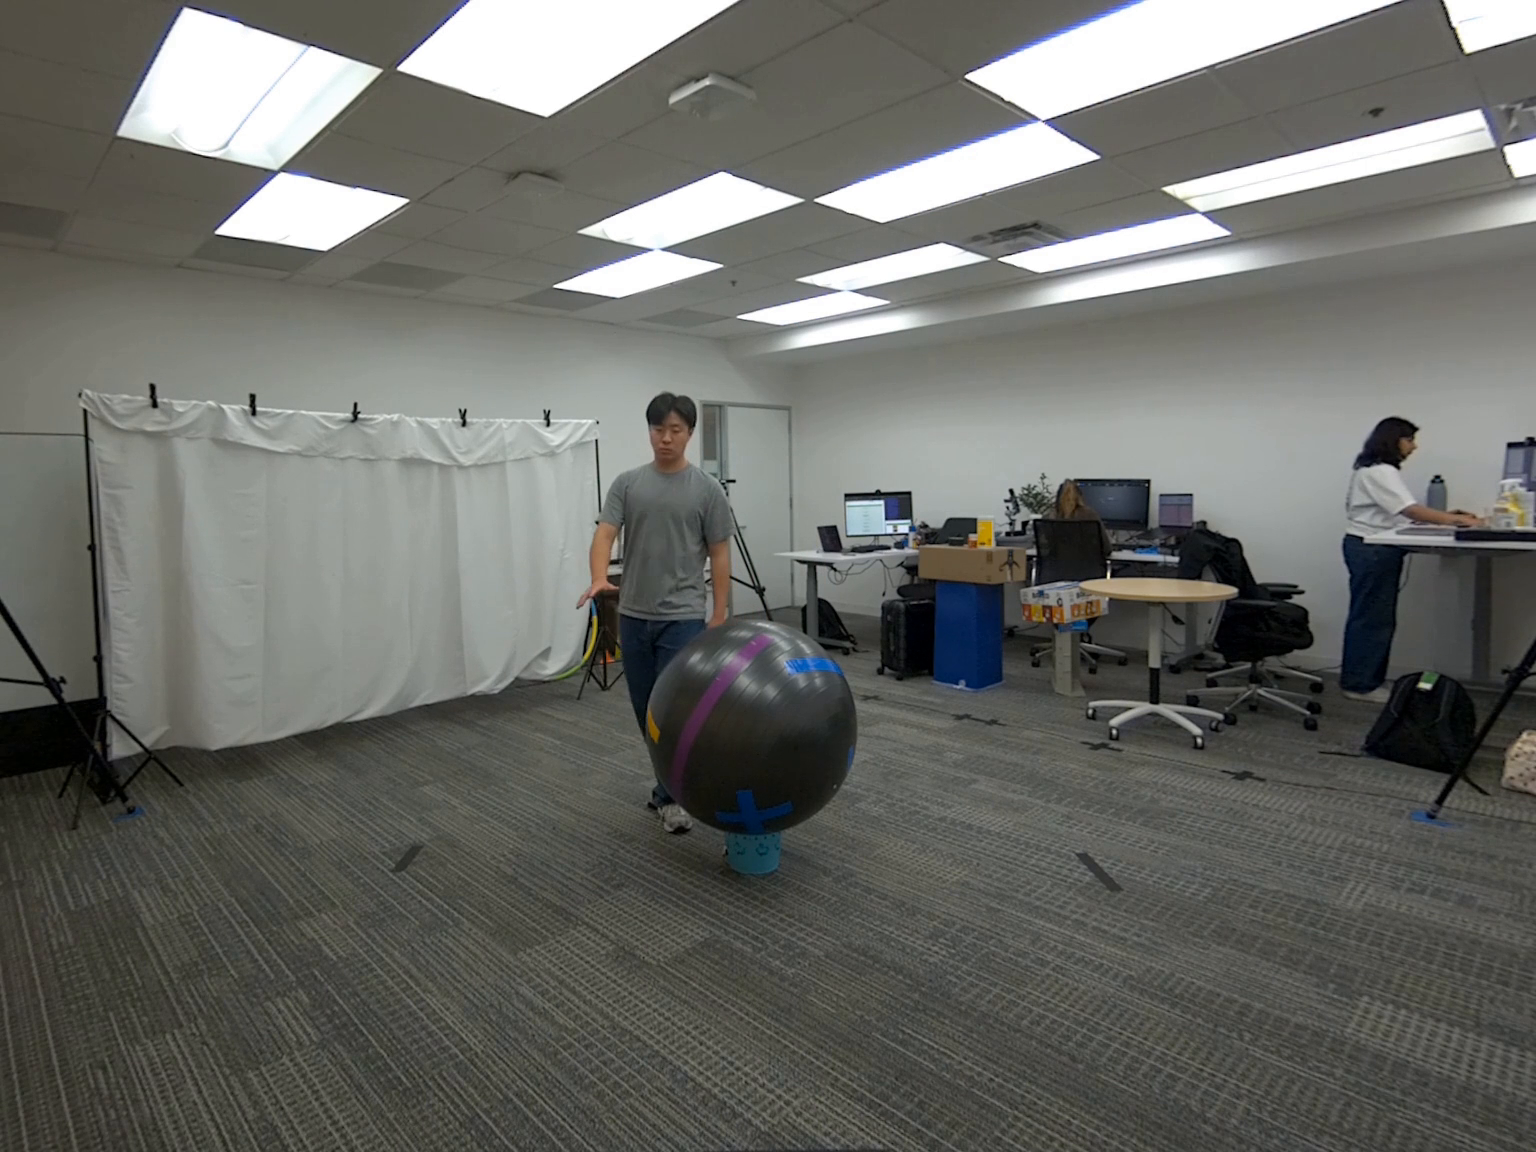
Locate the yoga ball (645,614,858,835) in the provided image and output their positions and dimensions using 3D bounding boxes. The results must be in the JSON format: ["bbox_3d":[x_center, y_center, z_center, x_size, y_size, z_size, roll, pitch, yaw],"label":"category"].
[{"bbox_3d":[-0.060,0.535,3.084,0.757,0.755,0.762,-1,5,-2],"label":"yoga ball"}]
